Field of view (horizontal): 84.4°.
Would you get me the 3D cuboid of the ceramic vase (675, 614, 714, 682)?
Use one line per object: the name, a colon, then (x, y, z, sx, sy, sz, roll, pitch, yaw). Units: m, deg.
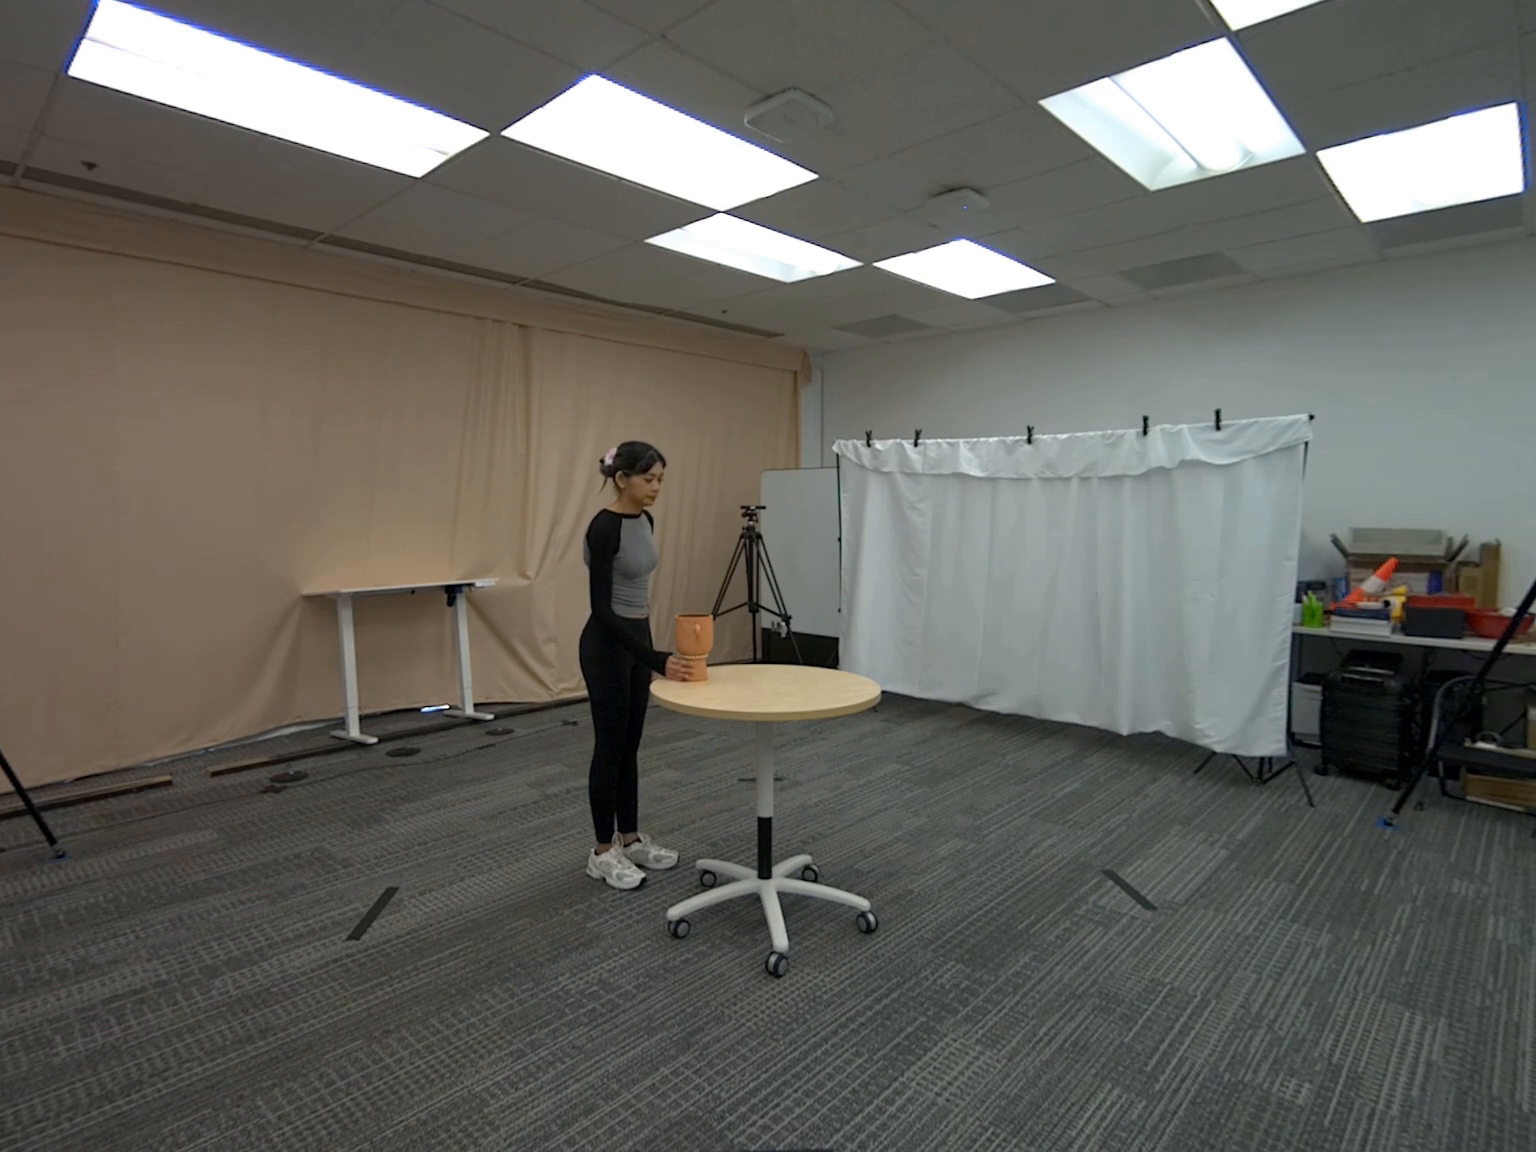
ceramic vase: (-0.257, 0.247, 2.914, 0.138, 0.219, 0.155, 2, 5, 28)
